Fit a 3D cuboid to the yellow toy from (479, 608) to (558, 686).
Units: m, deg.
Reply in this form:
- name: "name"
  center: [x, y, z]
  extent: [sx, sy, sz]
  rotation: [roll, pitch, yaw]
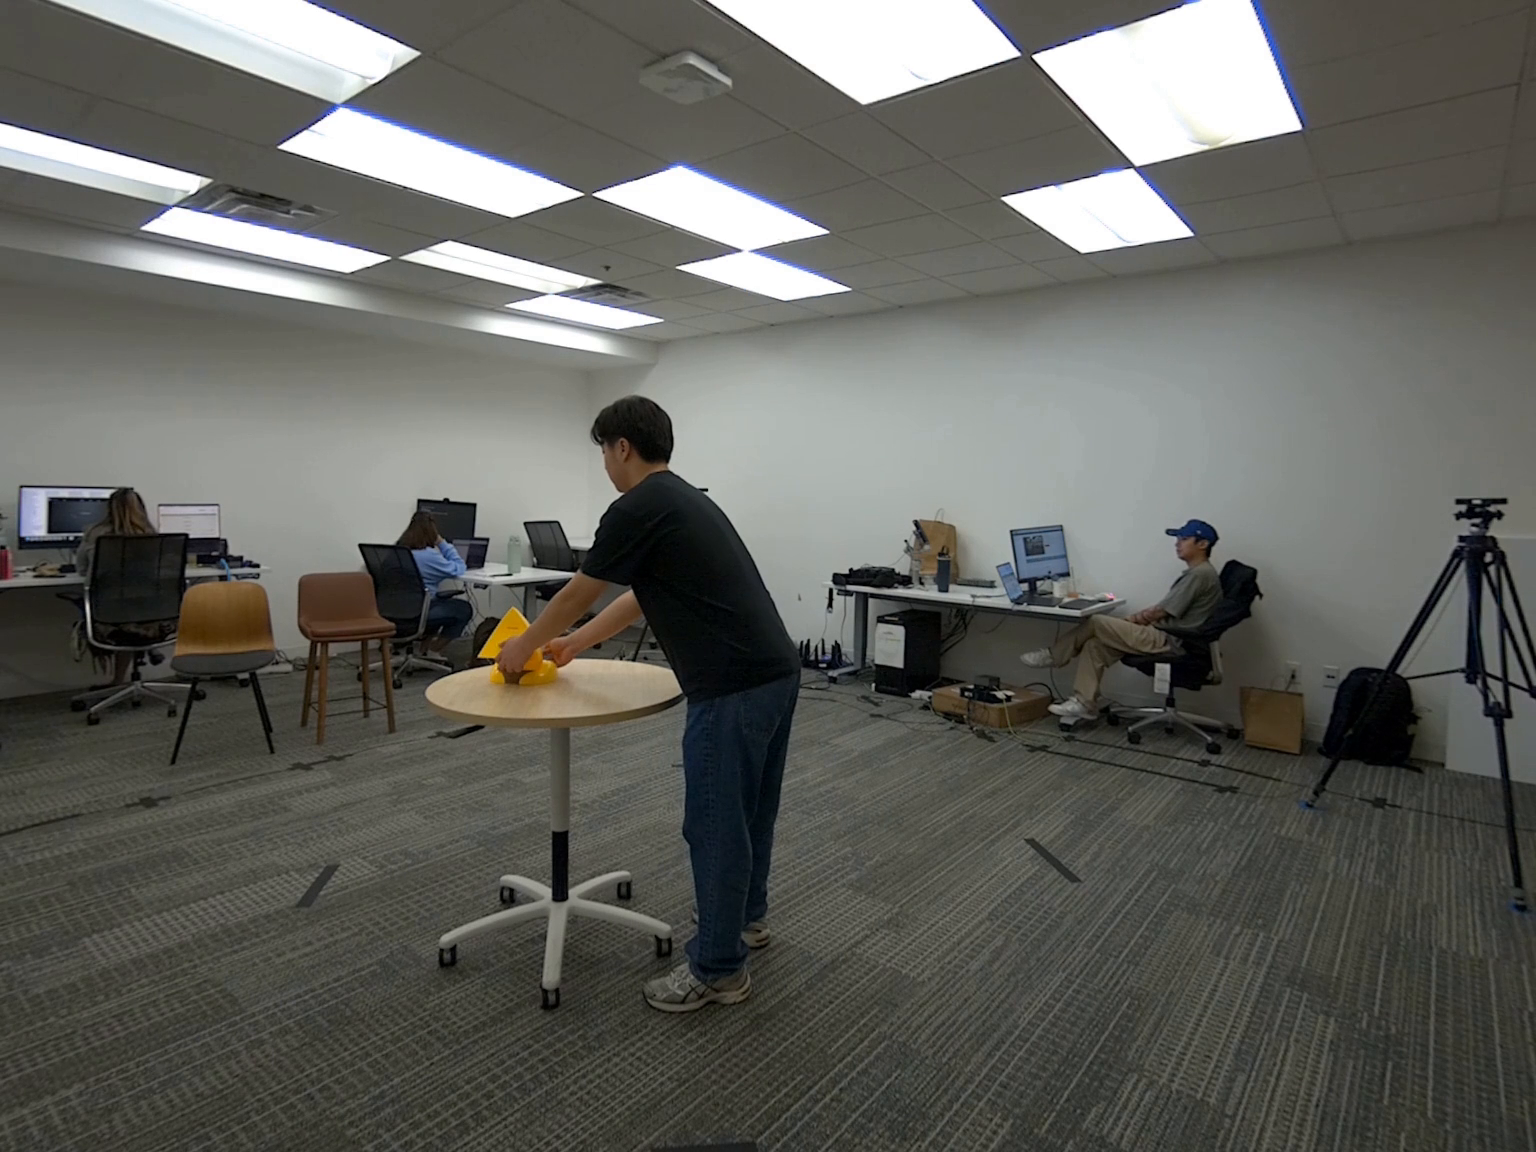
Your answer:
- name: "yellow toy"
  center: [-0.768, 0.202, 2.605]
  extent: [0.208, 0.230, 0.190]
  rotation: [2, 2, 14]
